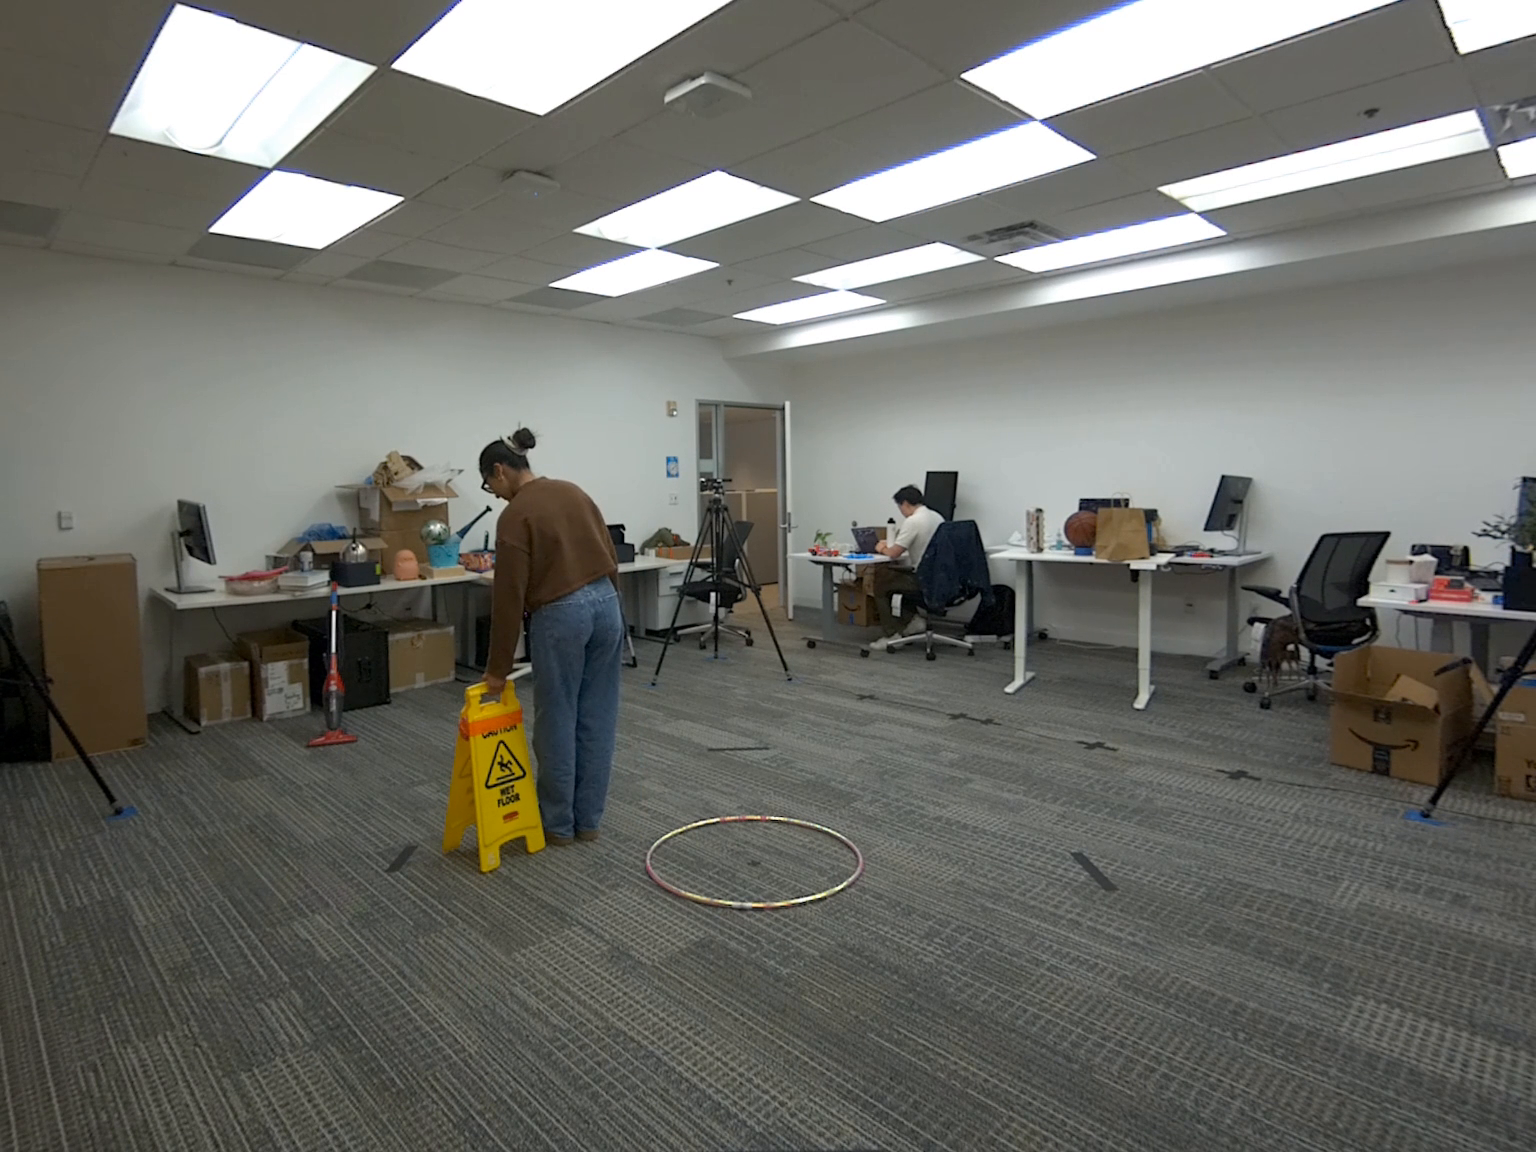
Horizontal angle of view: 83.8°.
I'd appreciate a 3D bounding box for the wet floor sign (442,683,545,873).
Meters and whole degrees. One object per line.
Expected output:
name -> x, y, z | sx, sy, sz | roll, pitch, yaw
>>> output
wet floor sign -> -1.044, 0.716, 3.225 | 0.299, 0.643, 0.275 | 4, 6, 40
